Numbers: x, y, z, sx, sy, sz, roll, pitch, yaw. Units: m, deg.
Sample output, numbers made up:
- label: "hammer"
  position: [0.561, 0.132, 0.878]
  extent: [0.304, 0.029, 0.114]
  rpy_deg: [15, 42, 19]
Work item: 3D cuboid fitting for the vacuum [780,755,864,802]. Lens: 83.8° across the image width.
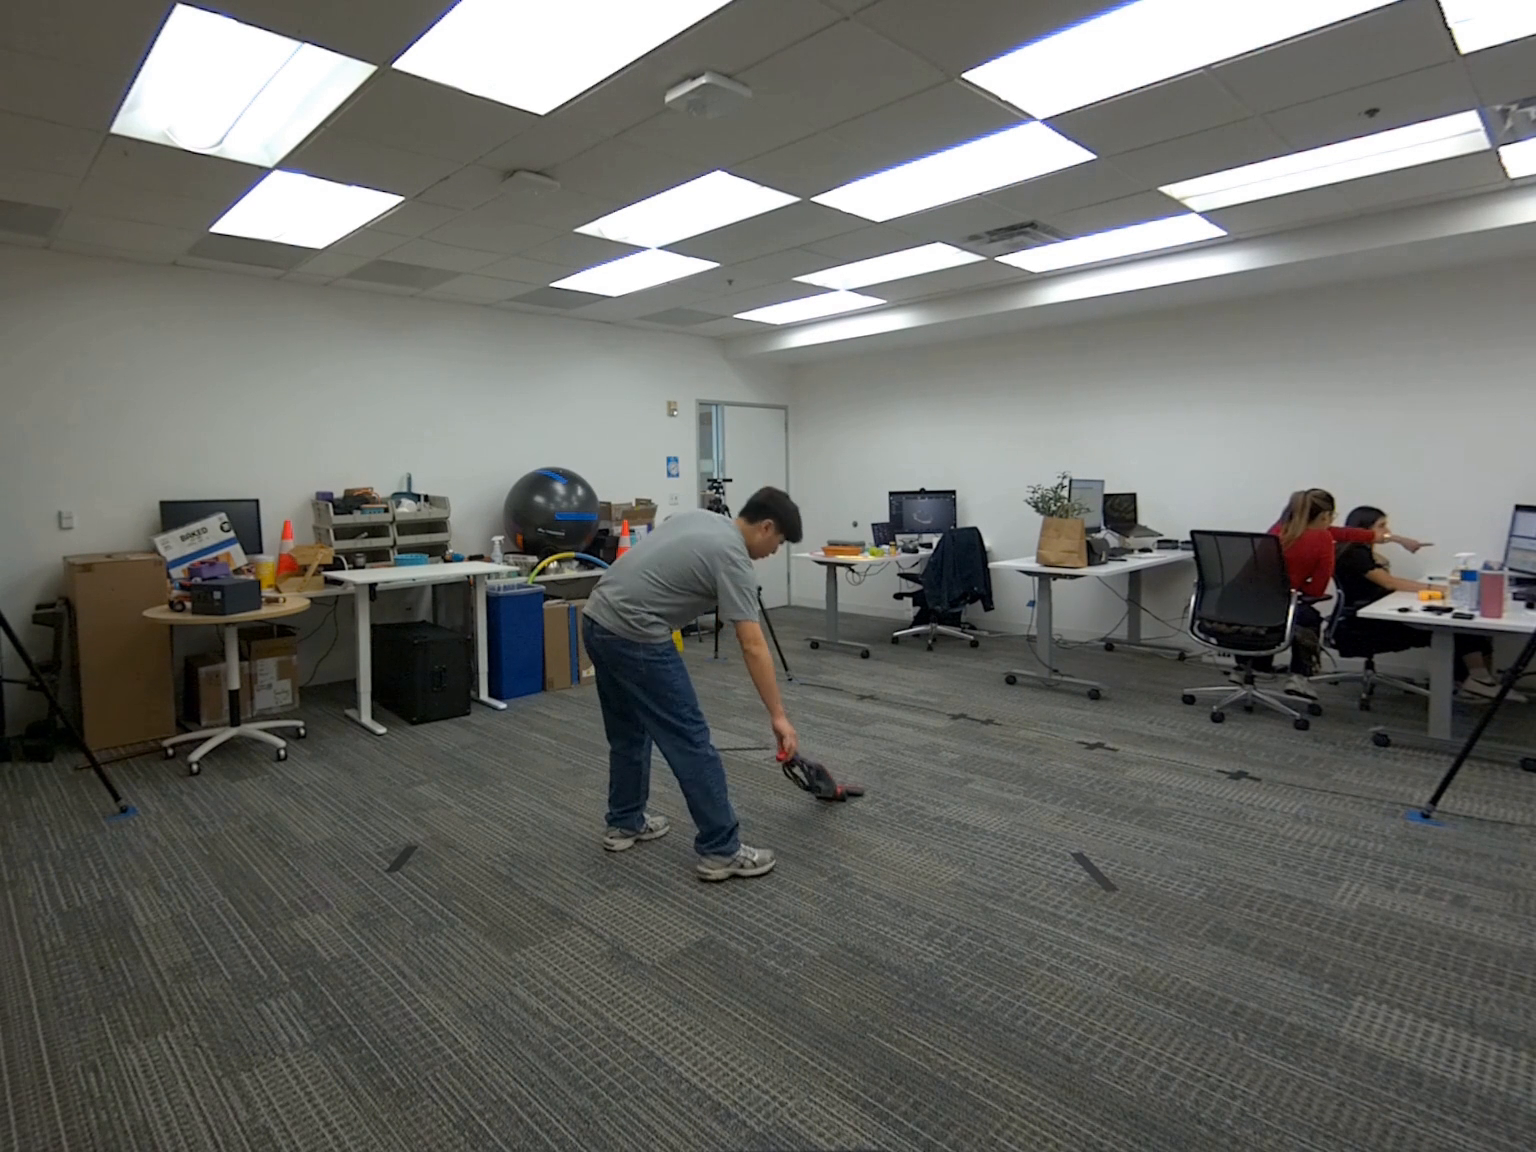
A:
- label: "vacuum"
  position: [0.162, 0.778, 3.309]
  extent: [0.257, 0.145, 1.018]
  rpy_deg: [7, -17, 17]
